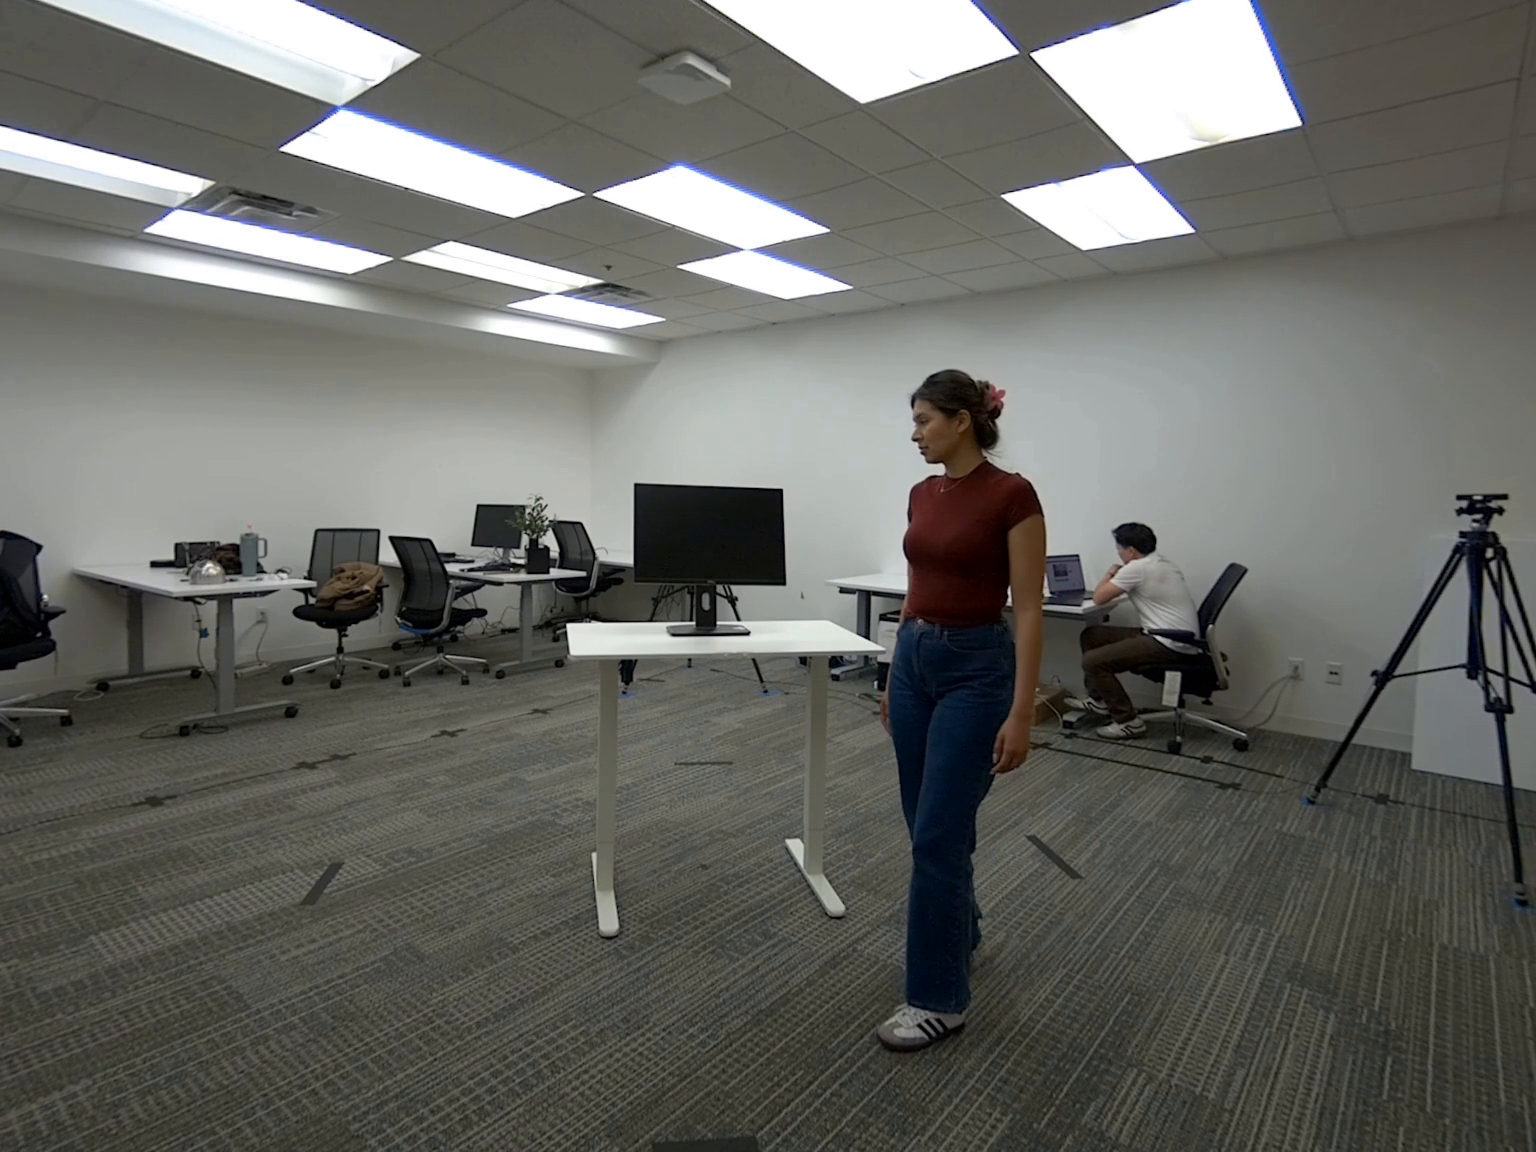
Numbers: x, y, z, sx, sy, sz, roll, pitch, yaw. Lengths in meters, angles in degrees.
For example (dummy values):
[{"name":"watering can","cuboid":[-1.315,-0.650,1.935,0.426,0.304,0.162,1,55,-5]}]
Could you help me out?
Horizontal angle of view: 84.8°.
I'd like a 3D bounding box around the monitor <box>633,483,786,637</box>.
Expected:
[{"name":"monitor","cuboid":[-0.221,-0.059,2.994,0.531,0.522,0.190,0,1,-14]}]
